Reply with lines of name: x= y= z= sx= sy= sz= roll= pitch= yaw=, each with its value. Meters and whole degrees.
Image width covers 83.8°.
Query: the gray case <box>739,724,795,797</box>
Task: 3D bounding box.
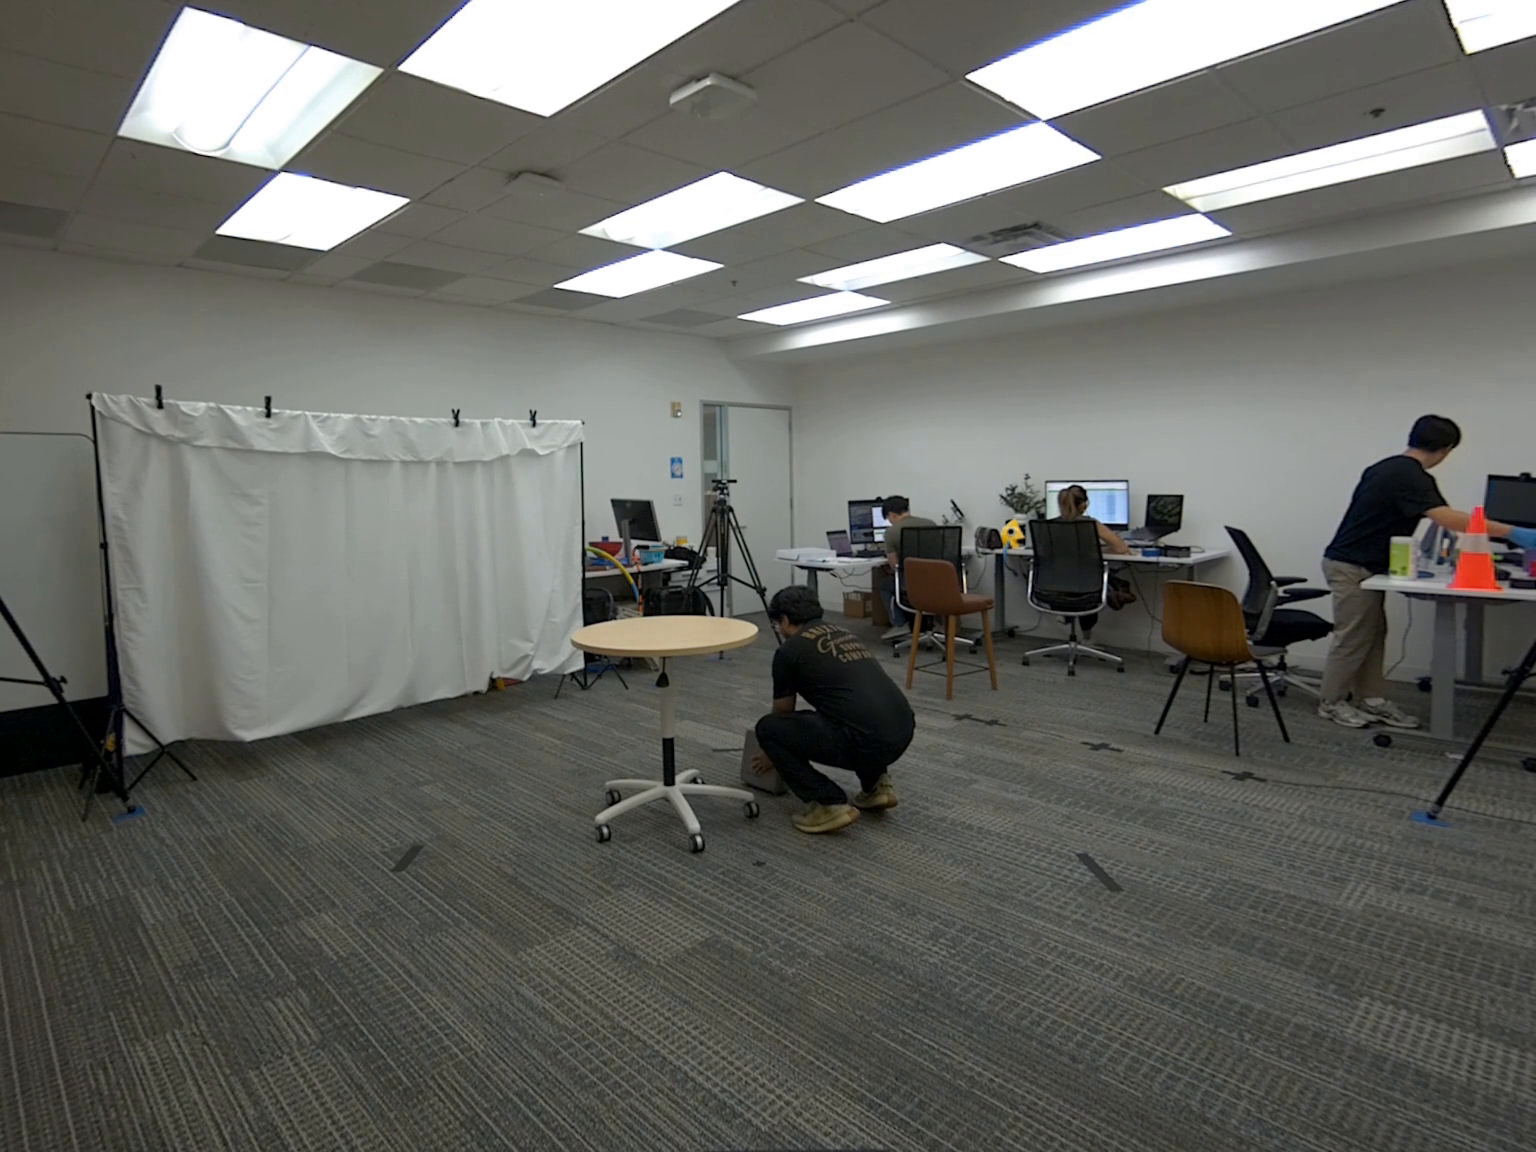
gray case: x=0.009 y=0.832 z=3.898 sx=0.101 sy=0.261 sz=0.265 roll=13 pitch=-6 yaw=-42
